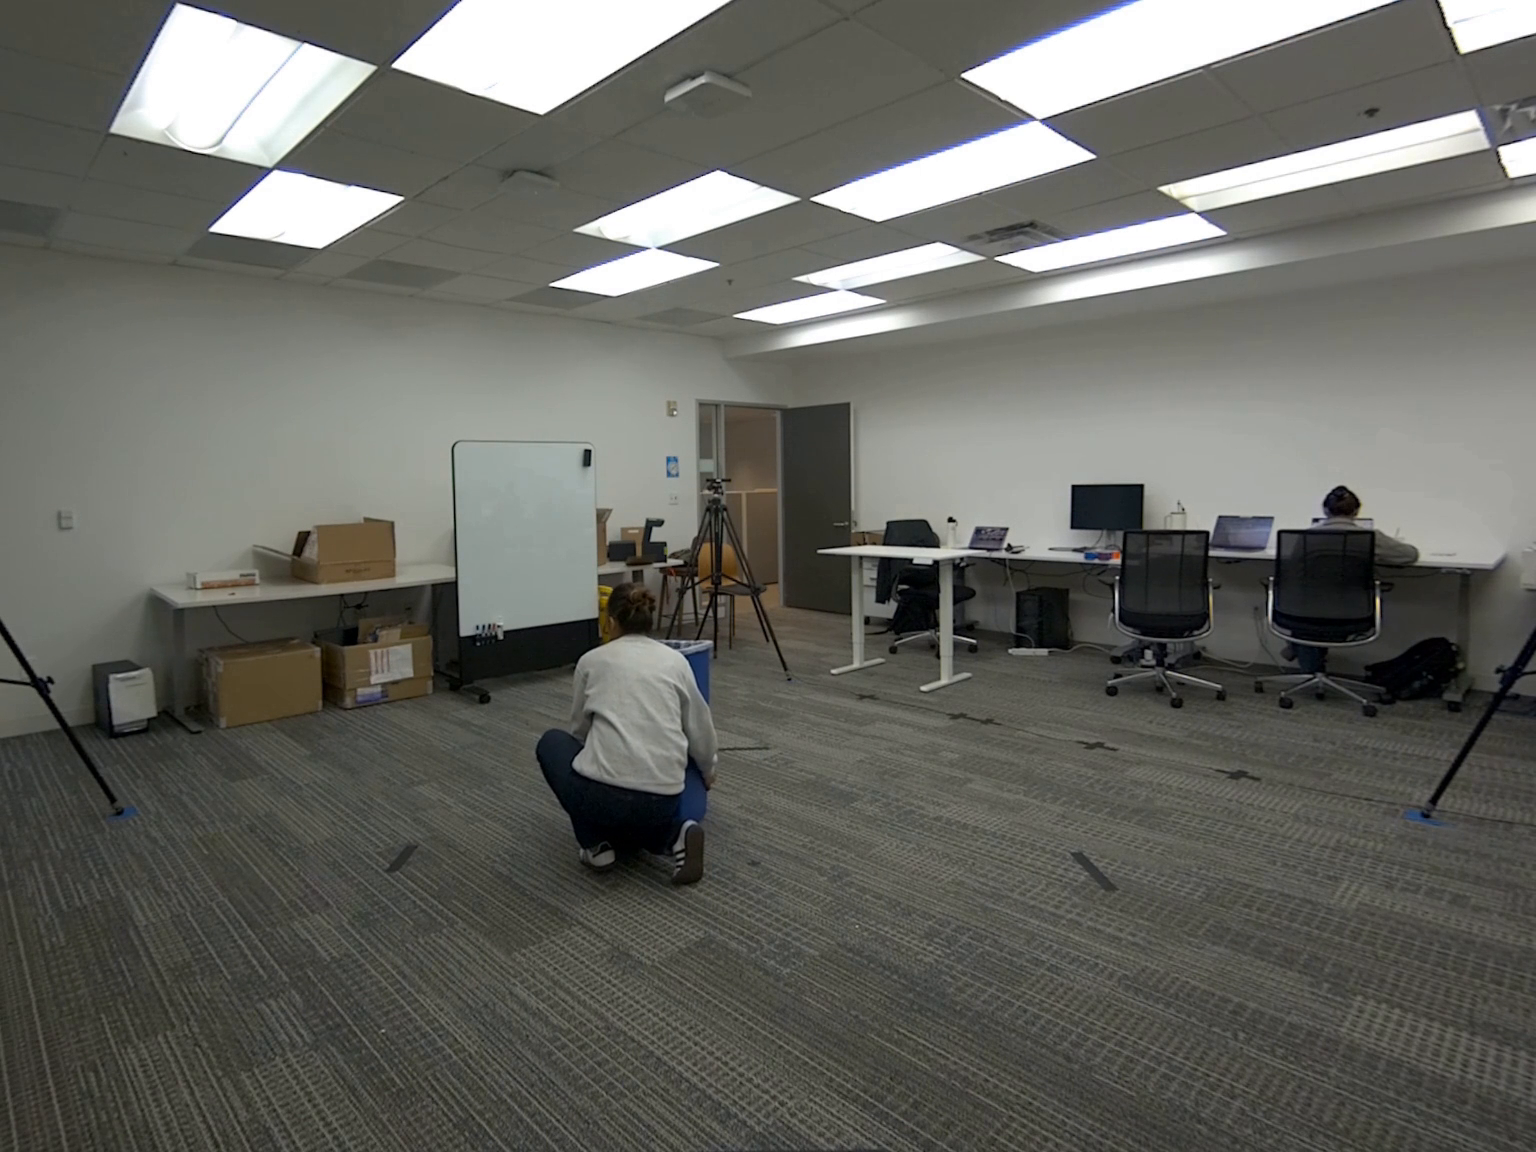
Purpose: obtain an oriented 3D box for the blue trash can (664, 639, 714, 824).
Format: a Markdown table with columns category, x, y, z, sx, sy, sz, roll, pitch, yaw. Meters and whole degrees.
| category | x | y | z | sx | sy | sz | roll | pitch | yaw |
| --- | --- | --- | --- | --- | --- | --- | --- | --- | --- |
| blue trash can | -0.449 | 0.637 | 3.486 | 0.384 | 0.715 | 0.367 | -1 | -2 | 17 |
